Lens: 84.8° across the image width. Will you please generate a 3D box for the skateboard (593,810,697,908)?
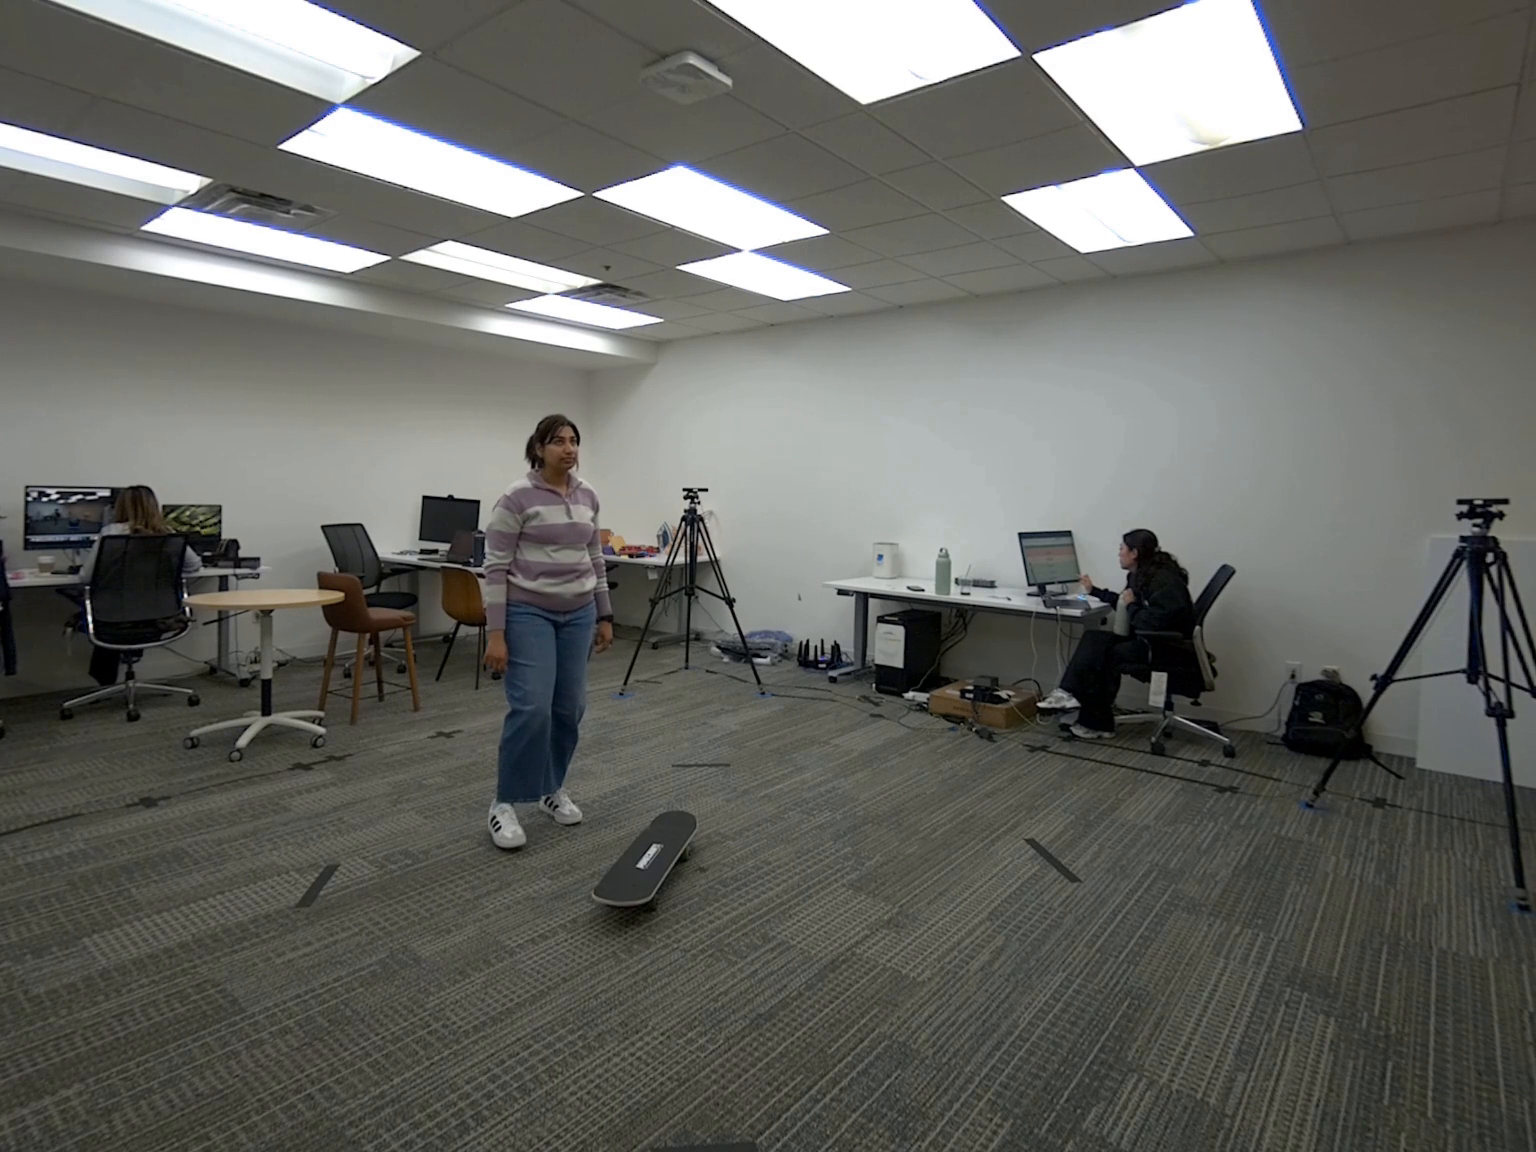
[{"bbox_3d":[-0.429,1.018,3.009,0.196,0.110,0.778,2,5,10],"label":"skateboard"}]
